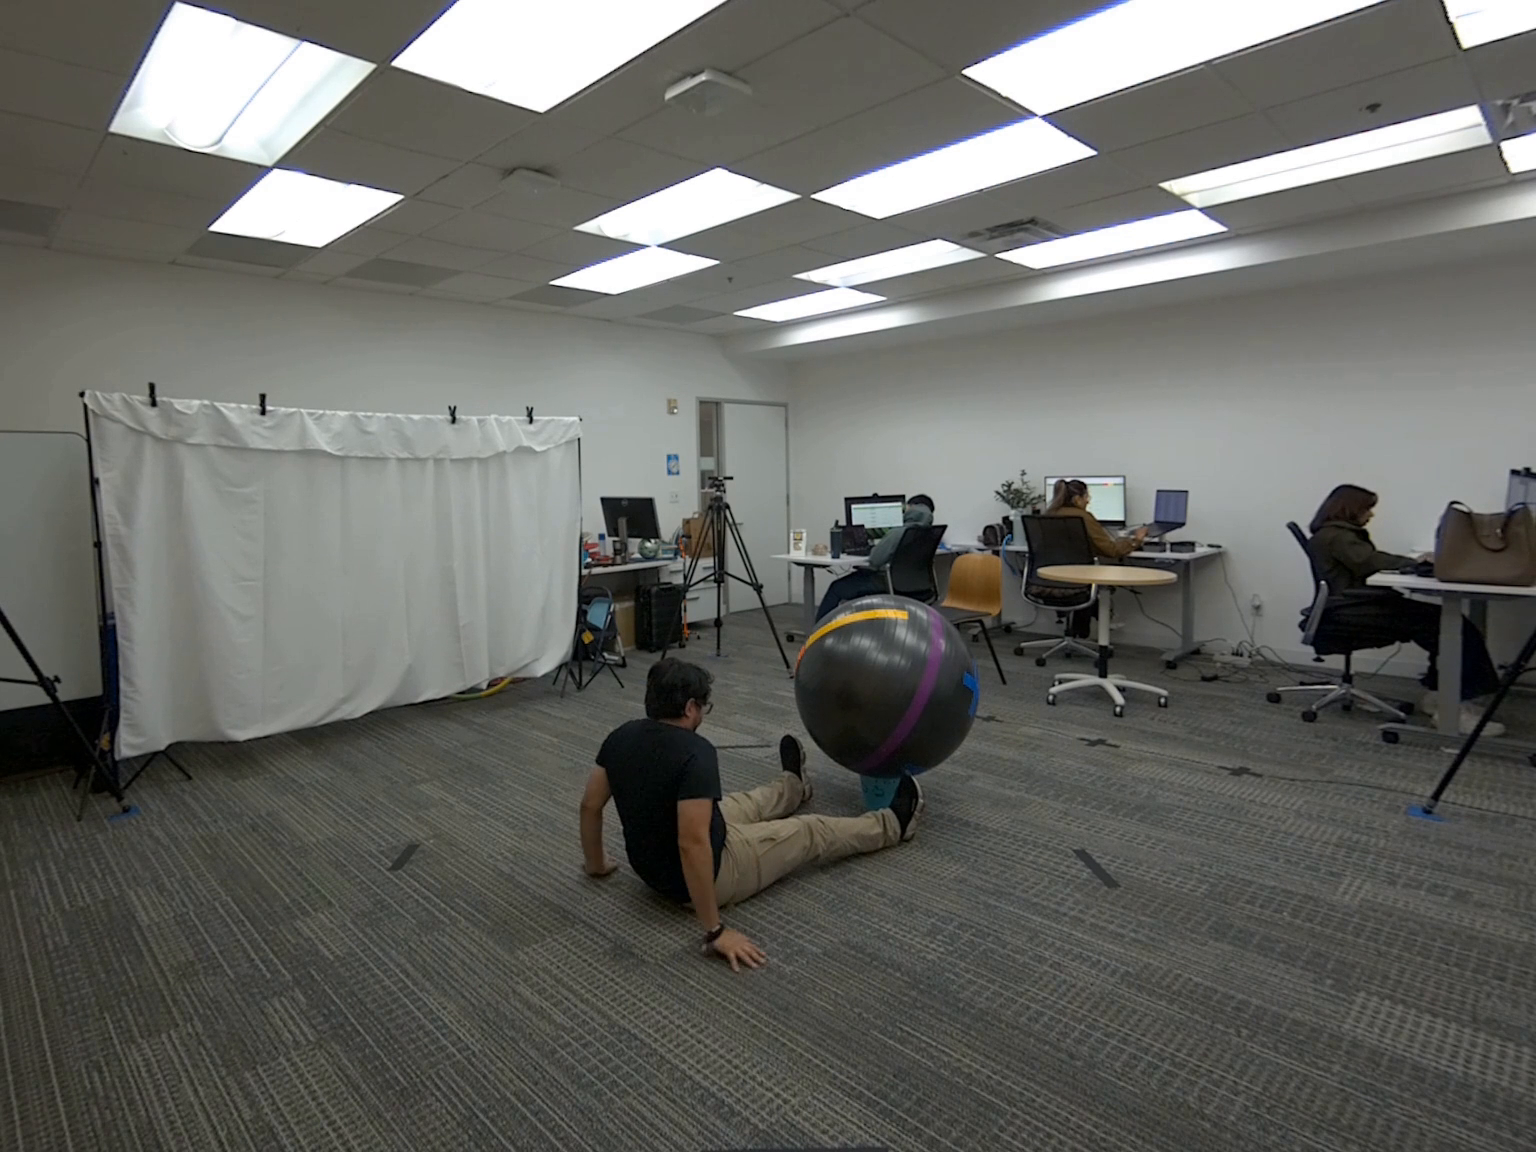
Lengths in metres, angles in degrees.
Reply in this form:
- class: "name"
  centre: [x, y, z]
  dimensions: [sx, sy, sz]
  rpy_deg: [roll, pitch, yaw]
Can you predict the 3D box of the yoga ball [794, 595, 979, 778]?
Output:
- class: "yoga ball"
  centre: [0.492, 0.463, 3.586]
  dimensions: [0.757, 0.755, 0.762]
  rpy_deg: [-1, 5, -2]
